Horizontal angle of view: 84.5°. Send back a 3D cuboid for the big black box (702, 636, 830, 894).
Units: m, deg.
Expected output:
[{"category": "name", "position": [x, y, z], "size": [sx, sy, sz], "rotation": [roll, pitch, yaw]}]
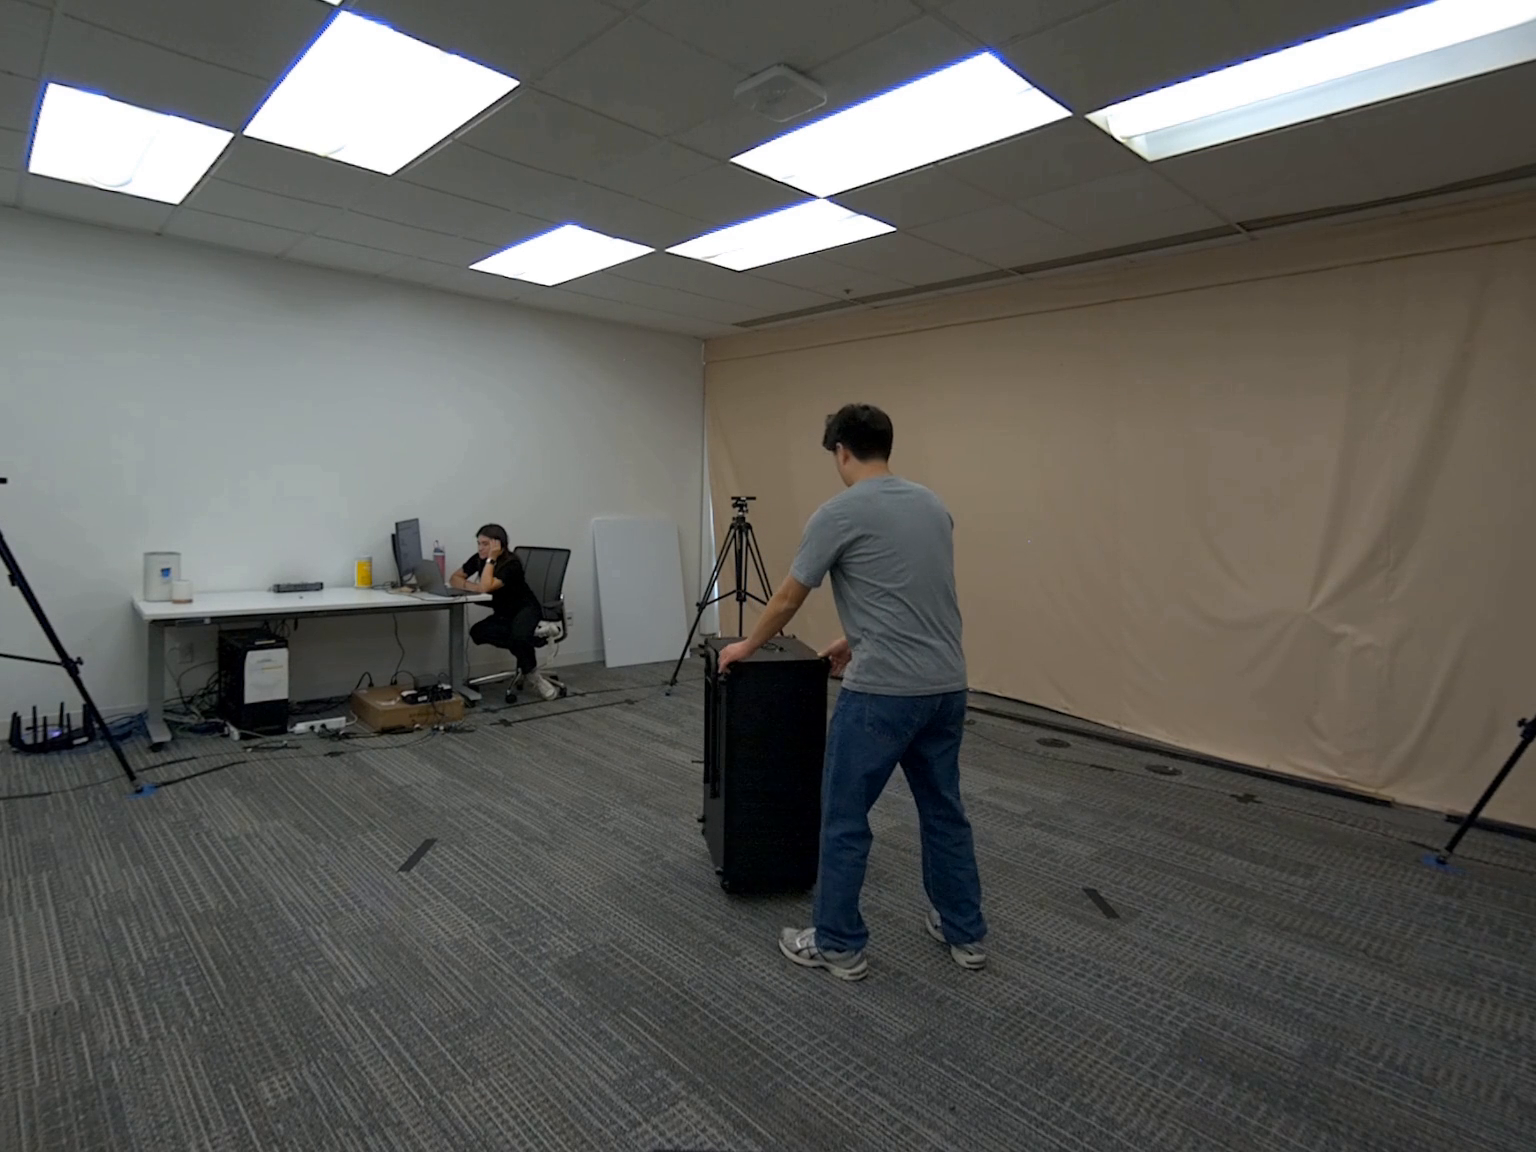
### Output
[{"category": "big black box", "position": [-0.040, 0.684, 3.076], "size": [0.392, 0.859, 0.528], "rotation": [0, 4, -12]}]
